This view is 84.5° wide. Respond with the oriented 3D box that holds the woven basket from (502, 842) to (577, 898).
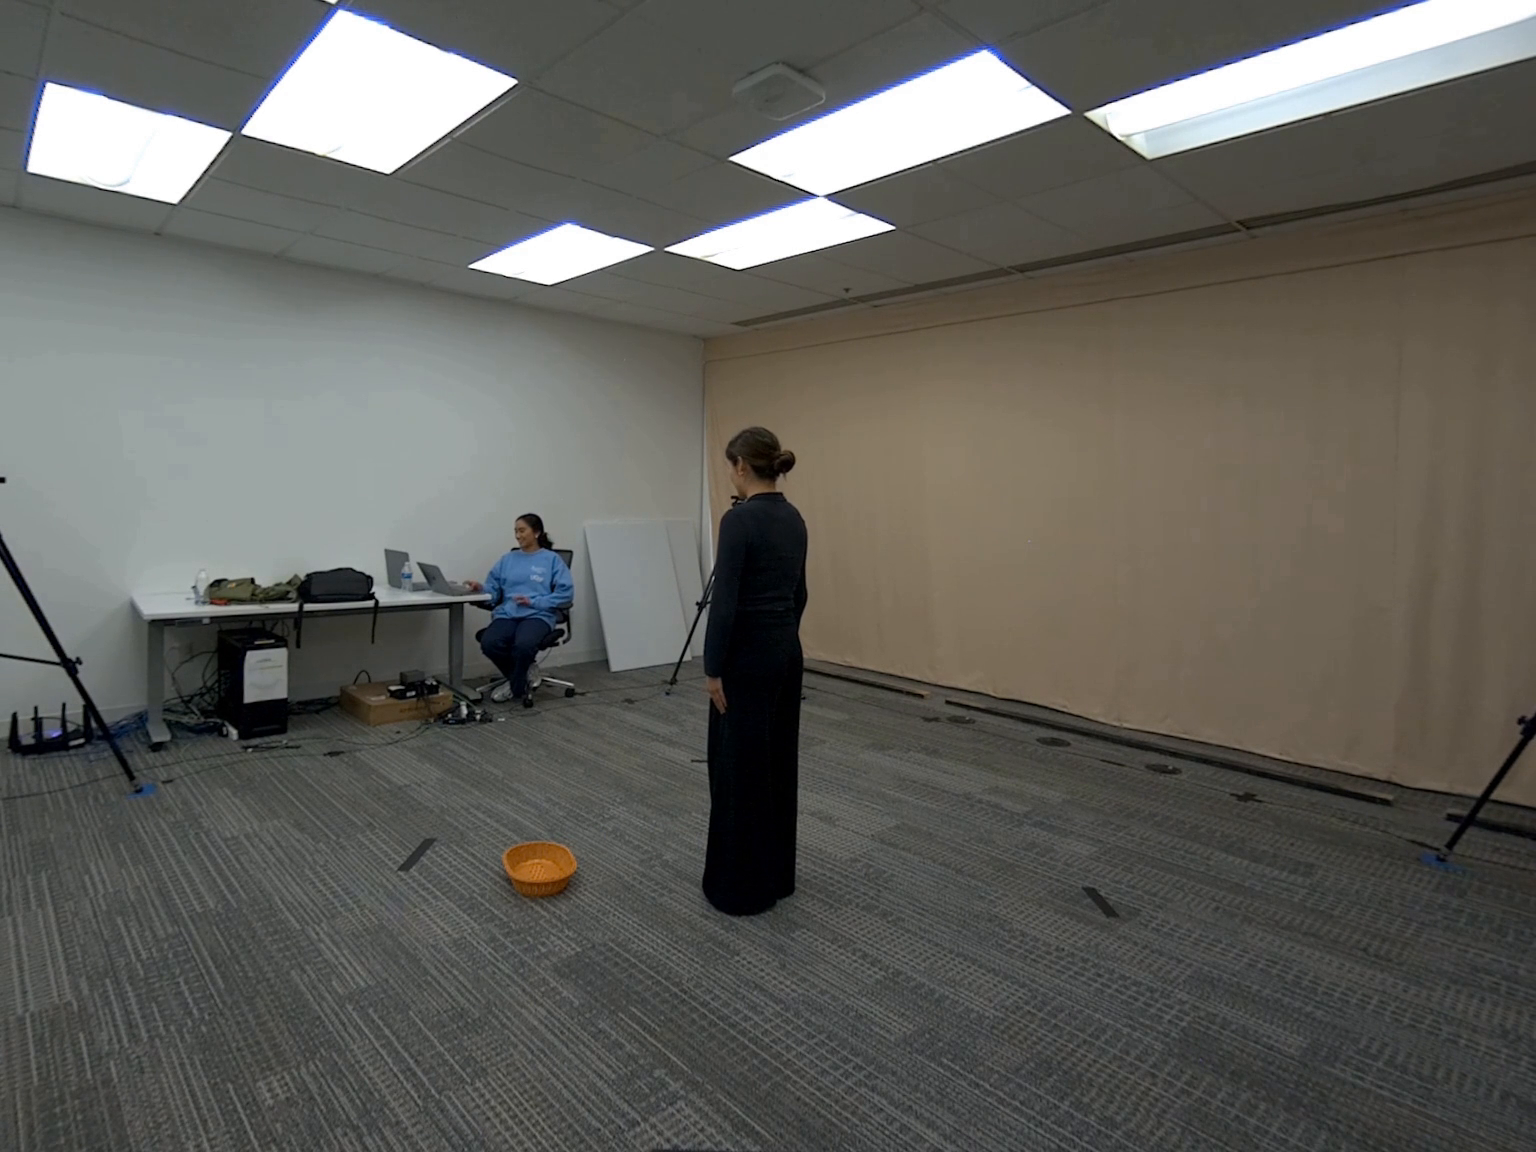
[{"bbox_3d":[-0.825,1.050,3.032,0.248,0.073,0.358,0,5,-25],"label":"woven basket"}]
